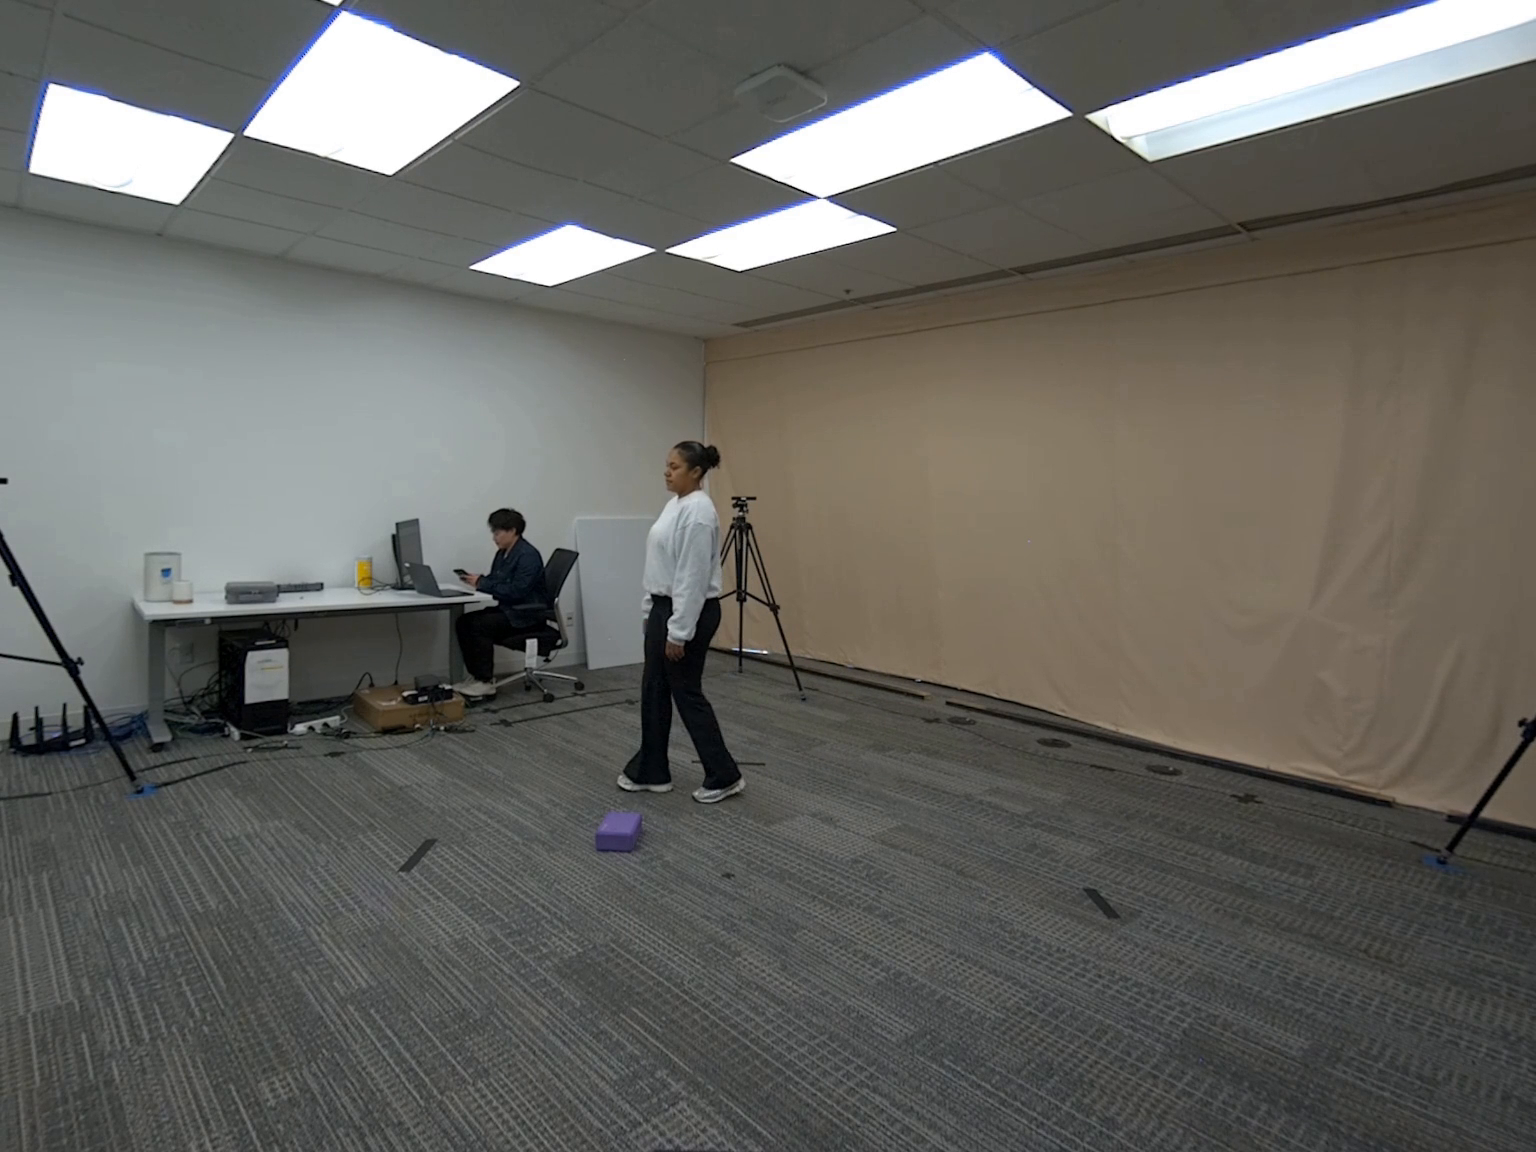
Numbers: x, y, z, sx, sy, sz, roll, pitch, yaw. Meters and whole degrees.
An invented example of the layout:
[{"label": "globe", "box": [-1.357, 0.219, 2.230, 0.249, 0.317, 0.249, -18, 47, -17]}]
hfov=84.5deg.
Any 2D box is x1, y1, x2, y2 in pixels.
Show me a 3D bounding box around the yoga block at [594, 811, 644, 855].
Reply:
[{"label": "yoga block", "box": [-0.614, 1.030, 3.400, 0.149, 0.076, 0.229, 5, 6, 3]}]
